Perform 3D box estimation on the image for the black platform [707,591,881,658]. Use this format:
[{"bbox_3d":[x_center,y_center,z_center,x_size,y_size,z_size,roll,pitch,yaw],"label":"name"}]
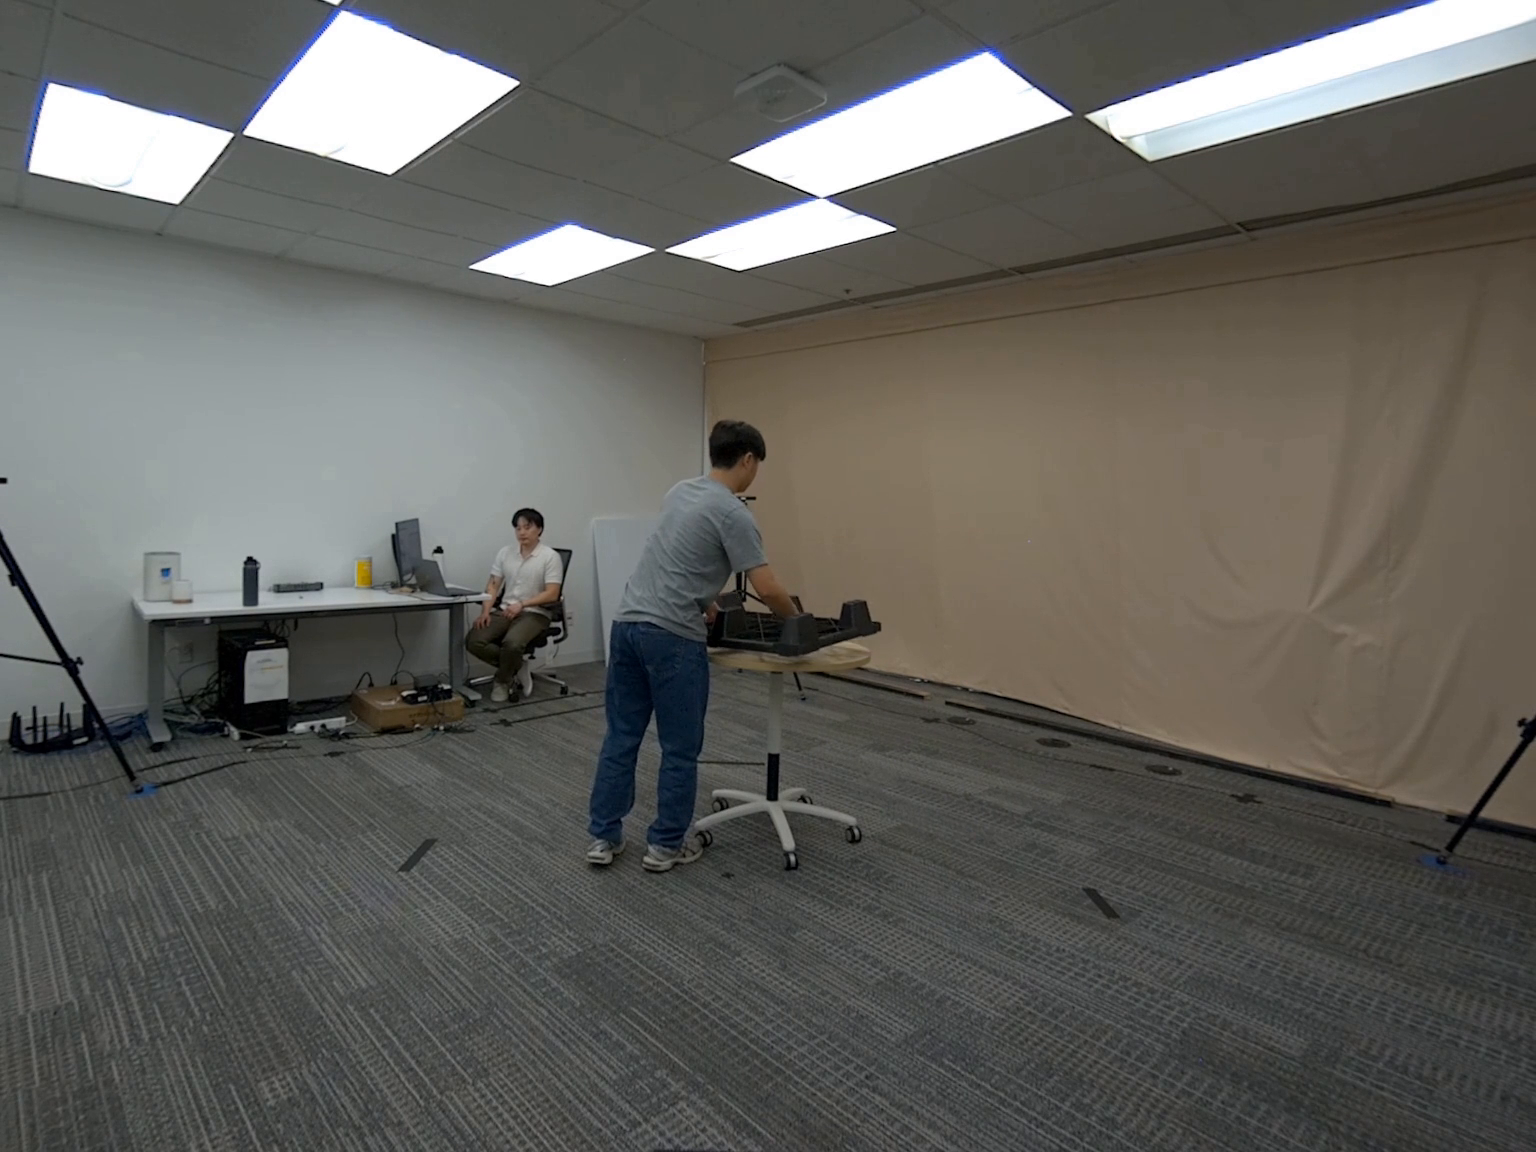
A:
[{"bbox_3d":[-0.041,0.178,3.459,0.825,0.143,0.593,3,7,40],"label":"black platform"}]
